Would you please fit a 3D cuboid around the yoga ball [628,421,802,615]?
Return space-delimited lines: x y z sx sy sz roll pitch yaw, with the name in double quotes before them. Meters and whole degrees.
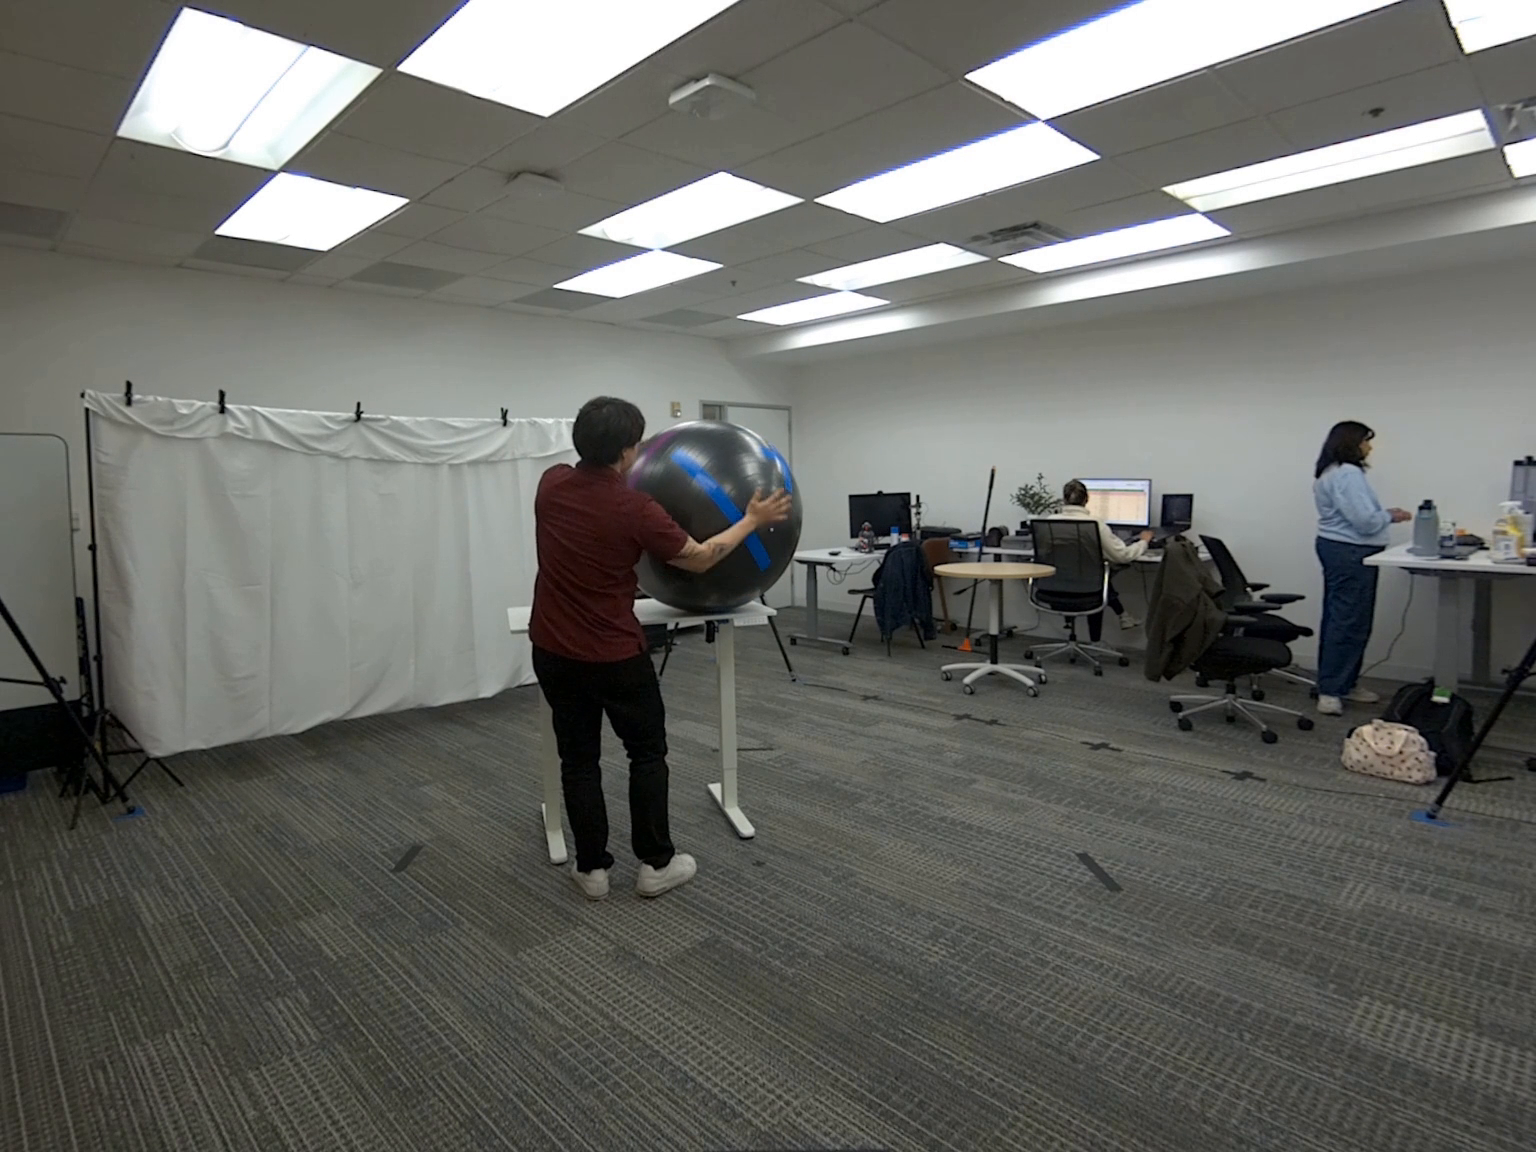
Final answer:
"yoga ball" -0.249 -0.229 3.372 0.757 0.755 0.762 -1 5 -2
